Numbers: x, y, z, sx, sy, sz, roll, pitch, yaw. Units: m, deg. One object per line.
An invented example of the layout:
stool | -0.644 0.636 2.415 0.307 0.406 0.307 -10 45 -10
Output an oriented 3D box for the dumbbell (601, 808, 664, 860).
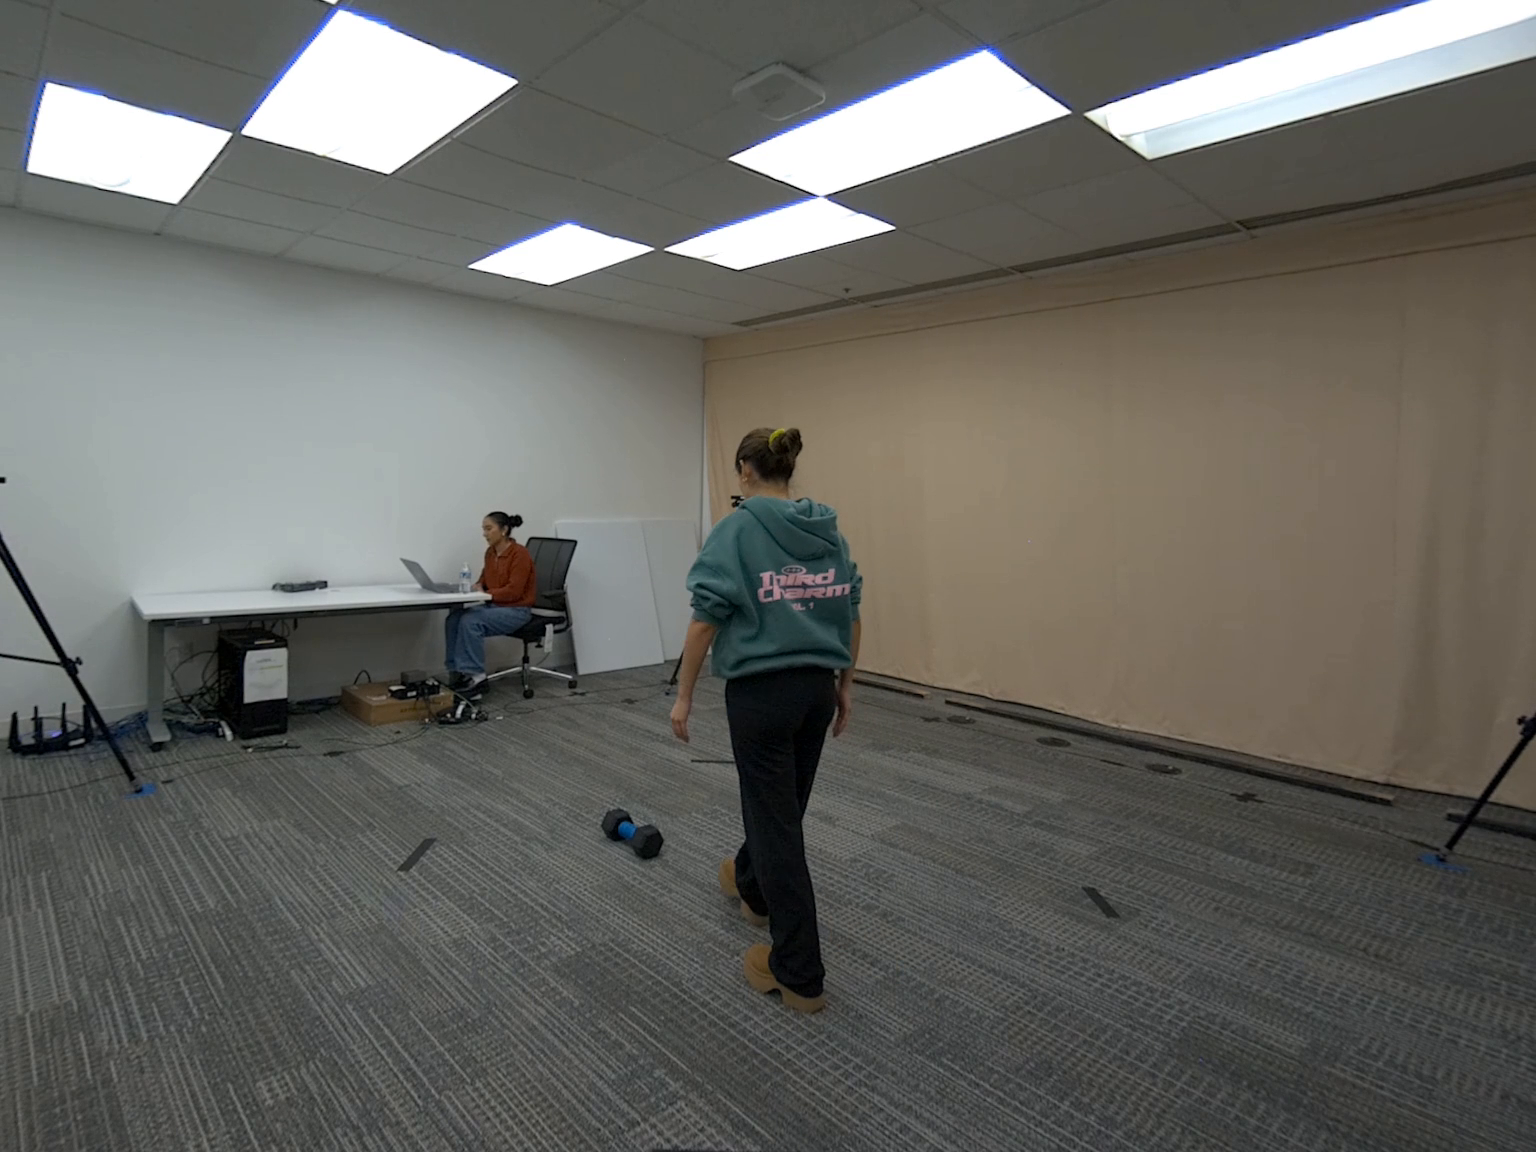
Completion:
dumbbell | -0.547 1.019 3.333 0.120 0.108 0.301 -3 7 -41
